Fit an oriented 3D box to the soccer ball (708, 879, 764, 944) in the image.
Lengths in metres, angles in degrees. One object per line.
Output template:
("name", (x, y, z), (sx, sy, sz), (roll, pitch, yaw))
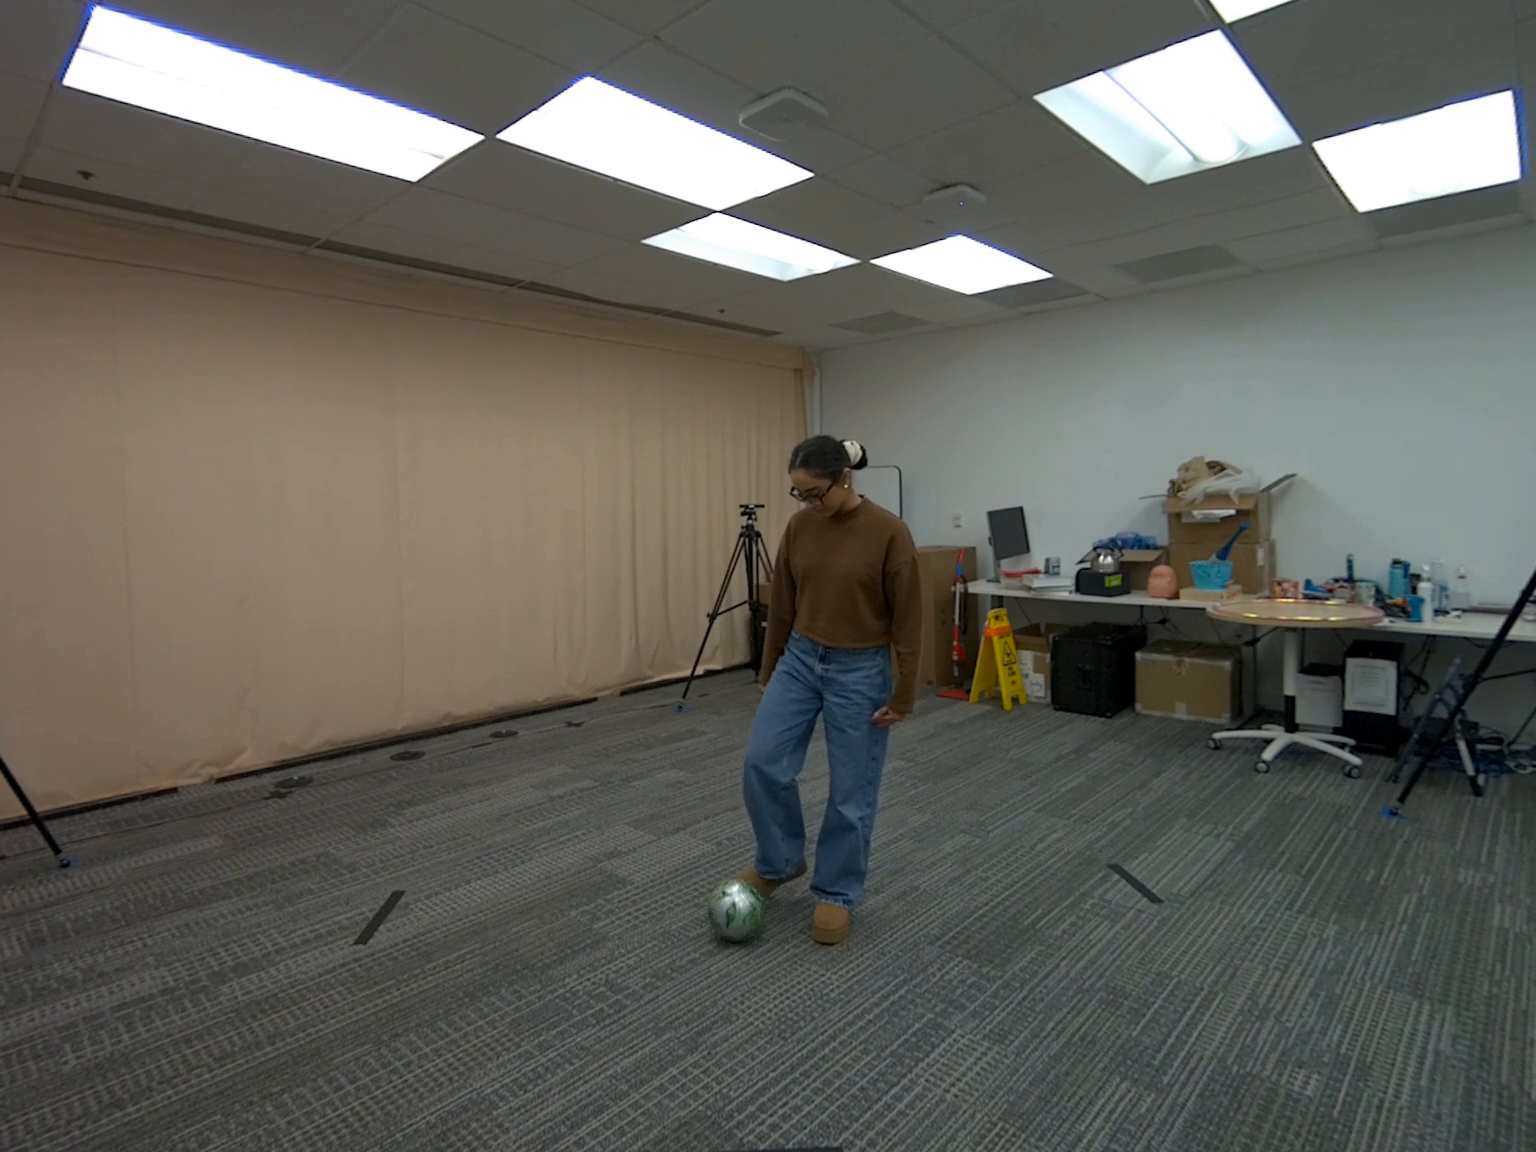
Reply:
("soccer ball", (-0.099, 1.071, 2.691), (0.187, 0.187, 0.188), (-1, 4, -2))
